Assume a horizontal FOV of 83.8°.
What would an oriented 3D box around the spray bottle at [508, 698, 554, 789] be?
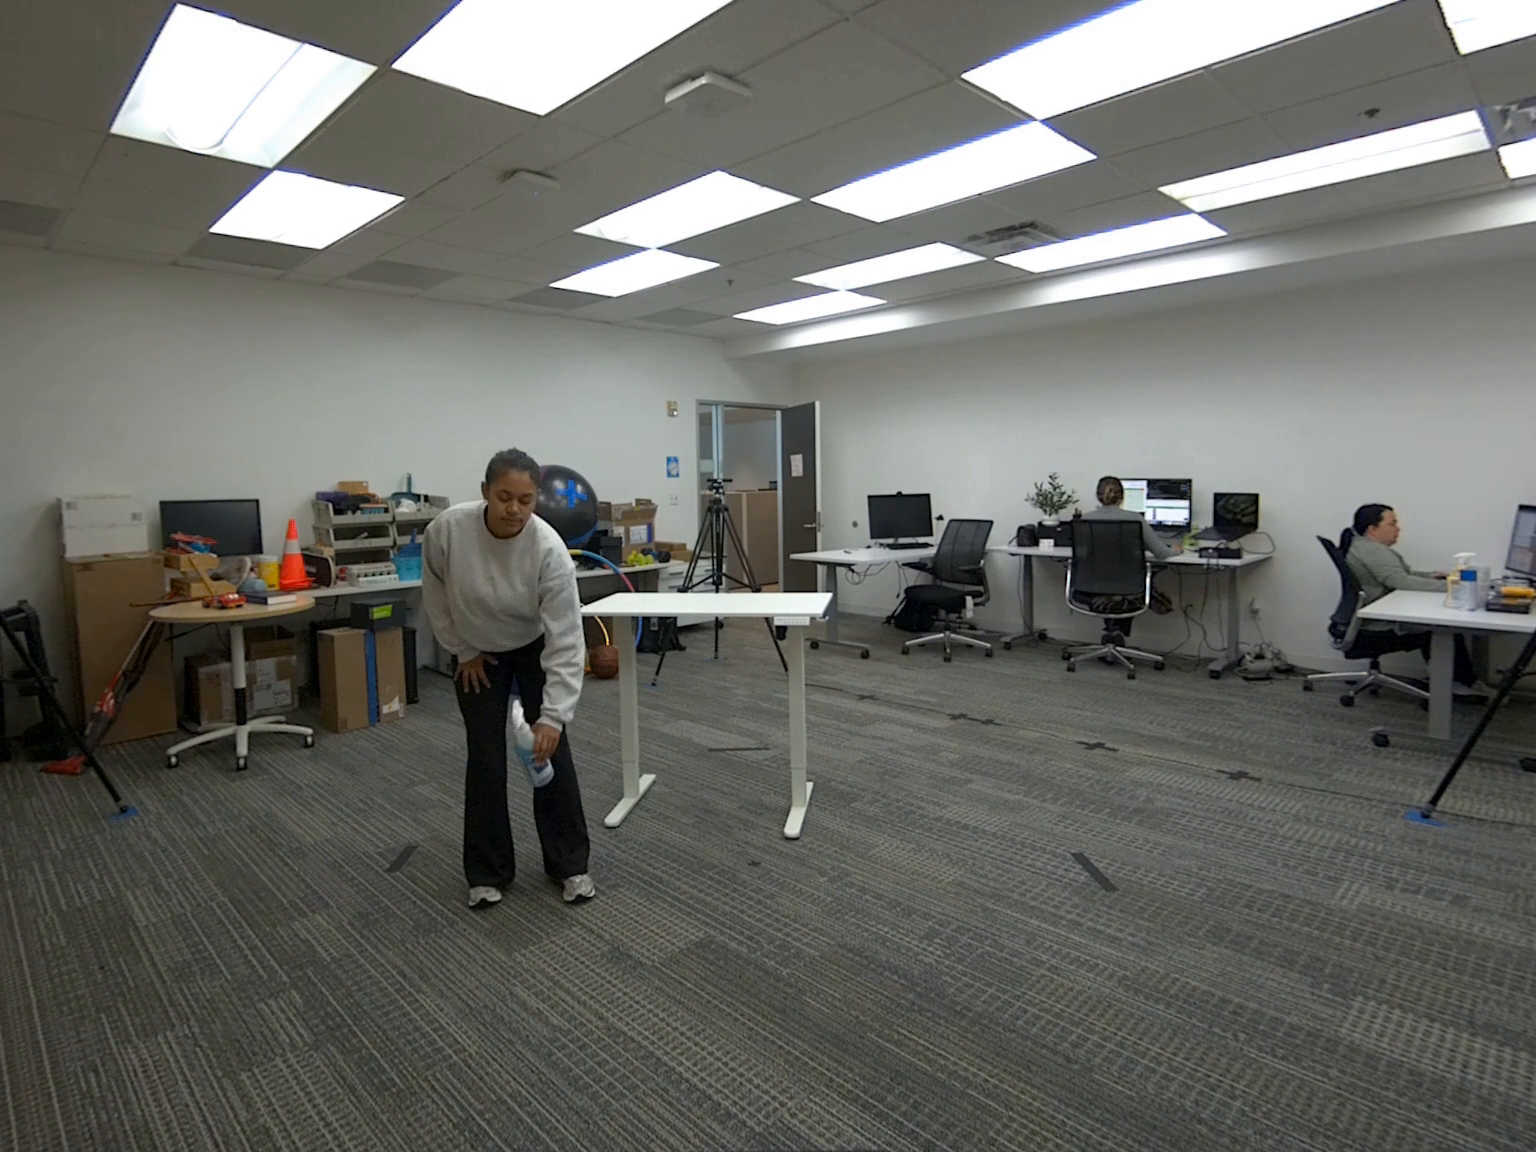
[{"bbox_3d":[-0.742,0.527,2.638,0.089,0.289,0.091,4,34,18],"label":"spray bottle"}]
